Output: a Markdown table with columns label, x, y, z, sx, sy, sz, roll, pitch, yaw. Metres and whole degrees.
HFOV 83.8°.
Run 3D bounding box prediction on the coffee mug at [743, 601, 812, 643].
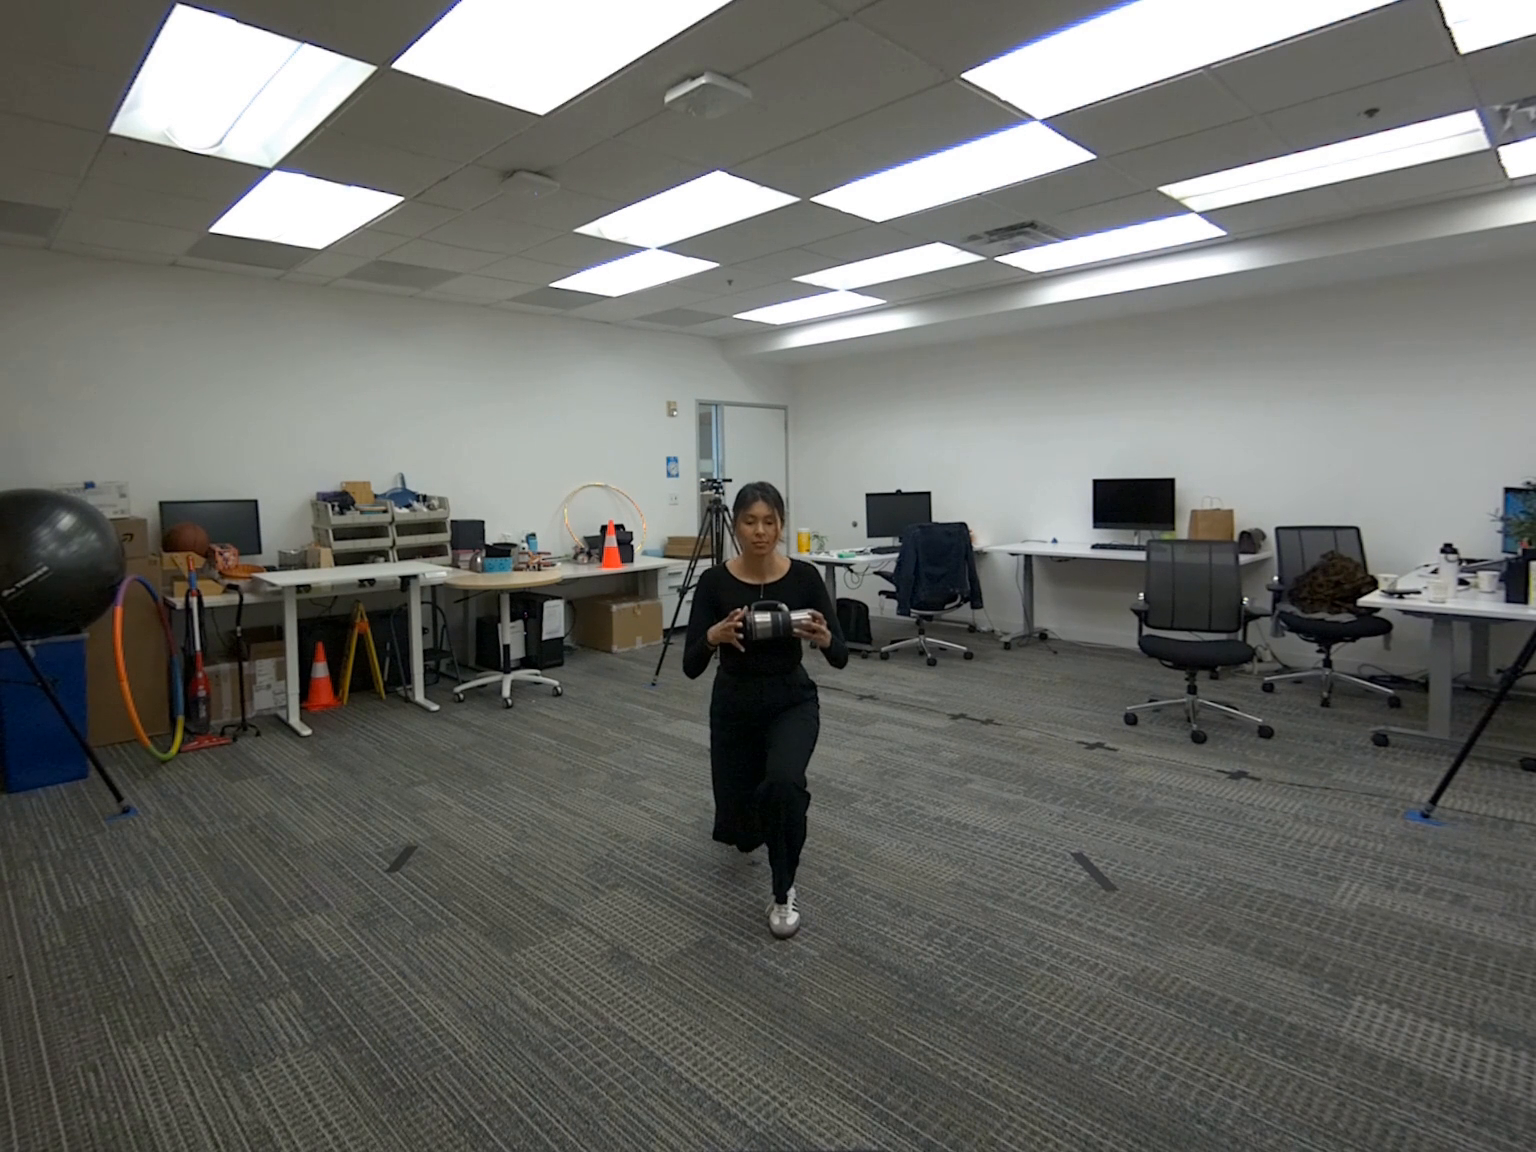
| label | x | y | z | sx | sy | sz | roll | pitch | yaw |
| --- | --- | --- | --- | --- | --- | --- | --- | --- | --- |
| coffee mug | 0.031 | 0.125 | 2.544 | 0.202 | 0.125 | 0.086 | -9 | -22 | -3 |
